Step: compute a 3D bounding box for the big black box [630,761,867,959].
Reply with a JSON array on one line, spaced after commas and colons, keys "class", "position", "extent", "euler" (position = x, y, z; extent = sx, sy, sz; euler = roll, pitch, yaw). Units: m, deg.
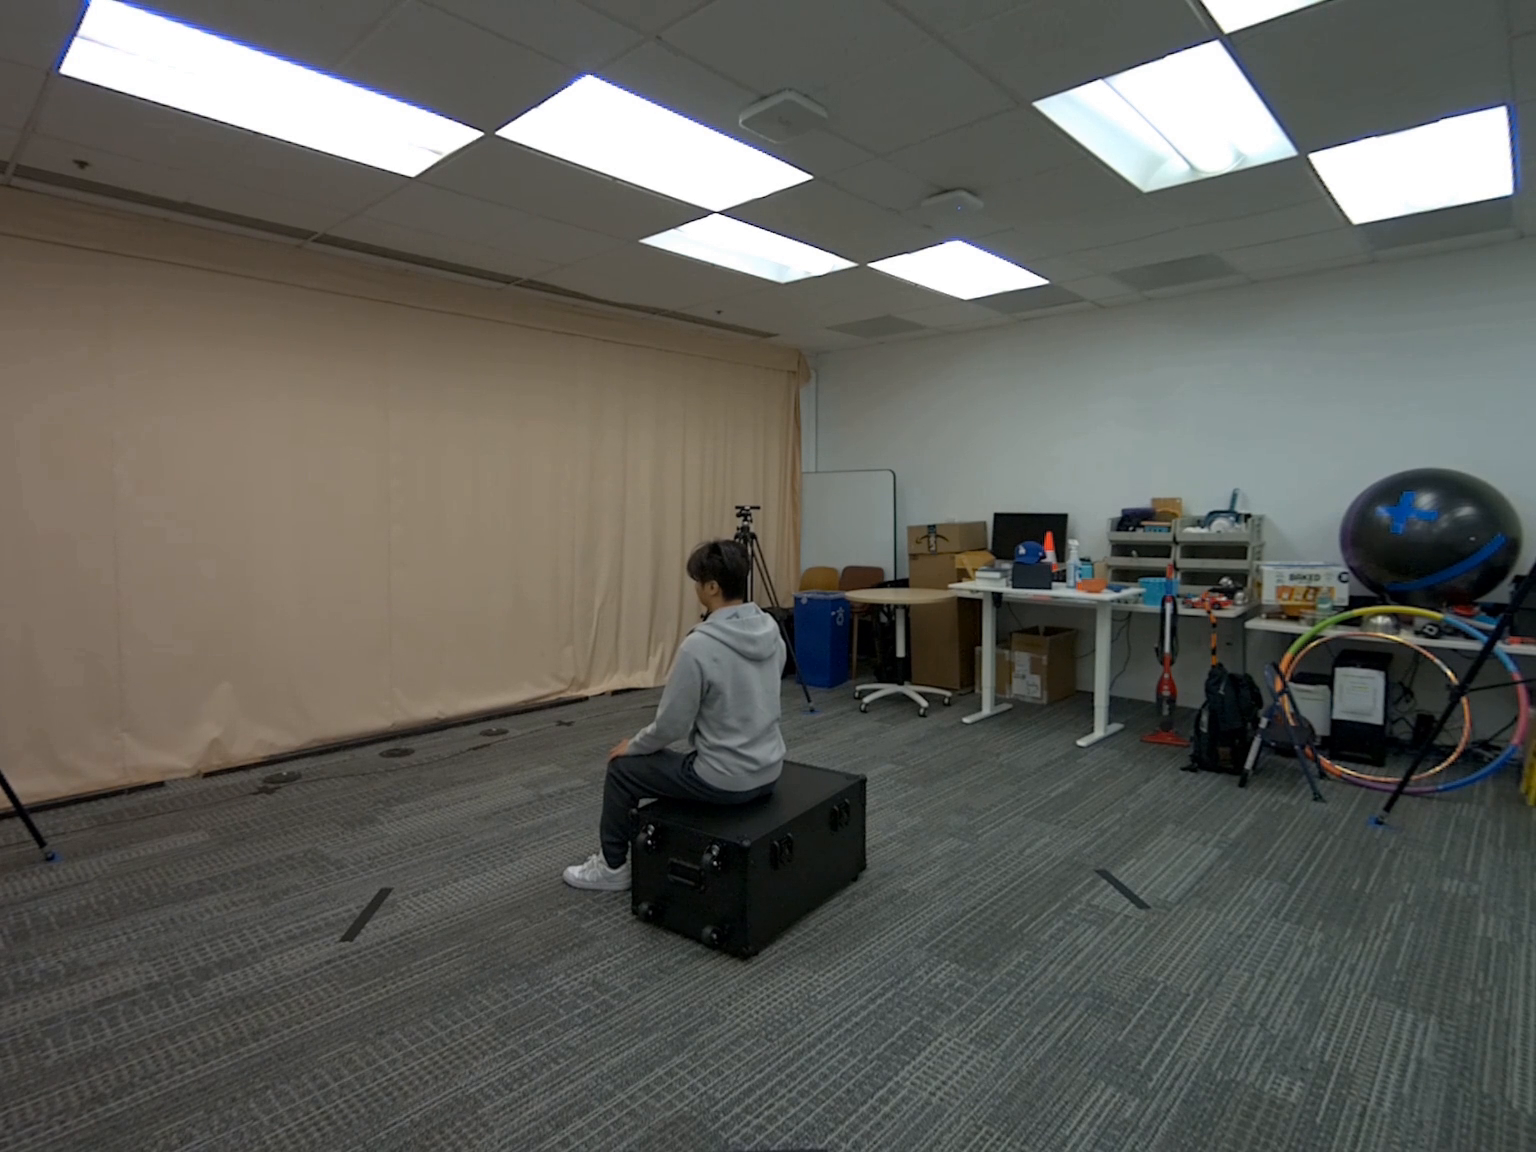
[{"class": "big black box", "position": [-0.020, 0.957, 3.011], "extent": [0.538, 0.395, 0.837], "euler": [3, 6, 36]}]
